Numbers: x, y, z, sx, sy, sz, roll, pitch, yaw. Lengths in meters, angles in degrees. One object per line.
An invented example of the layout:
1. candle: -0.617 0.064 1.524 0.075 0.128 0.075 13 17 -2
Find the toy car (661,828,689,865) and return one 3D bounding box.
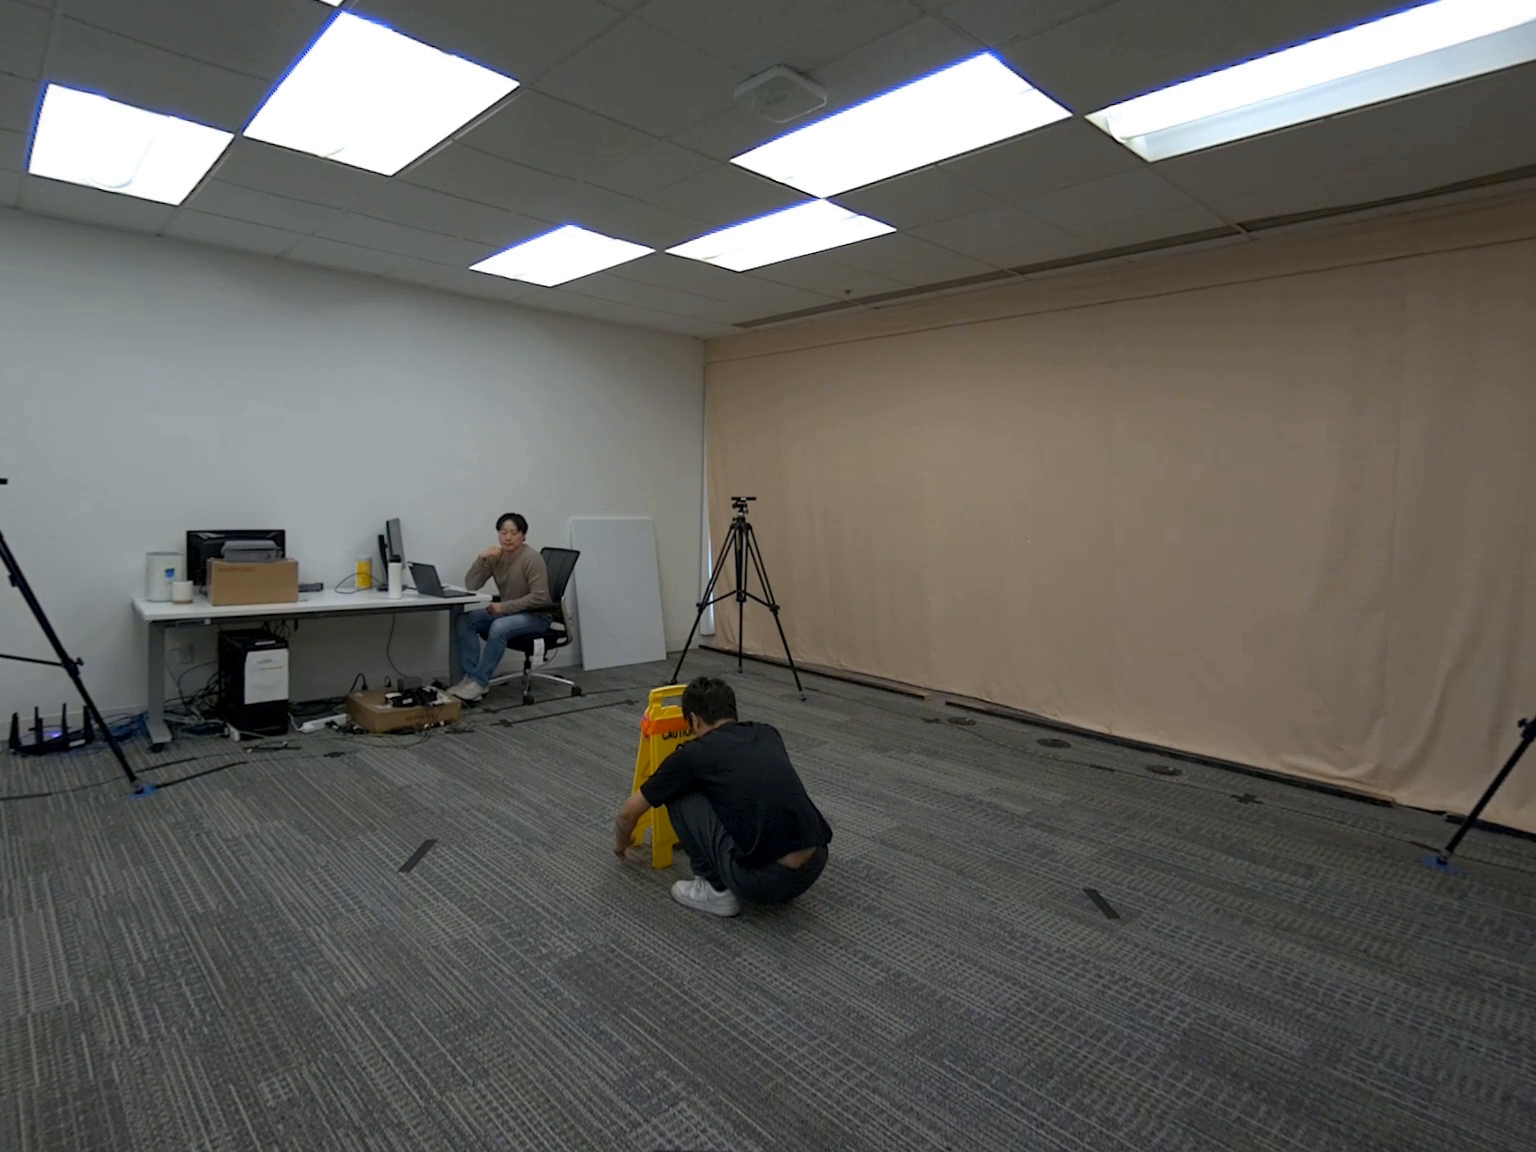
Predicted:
1. toy car: -0.285 1.045 3.409 0.250 0.082 0.133 -15 14 -31
